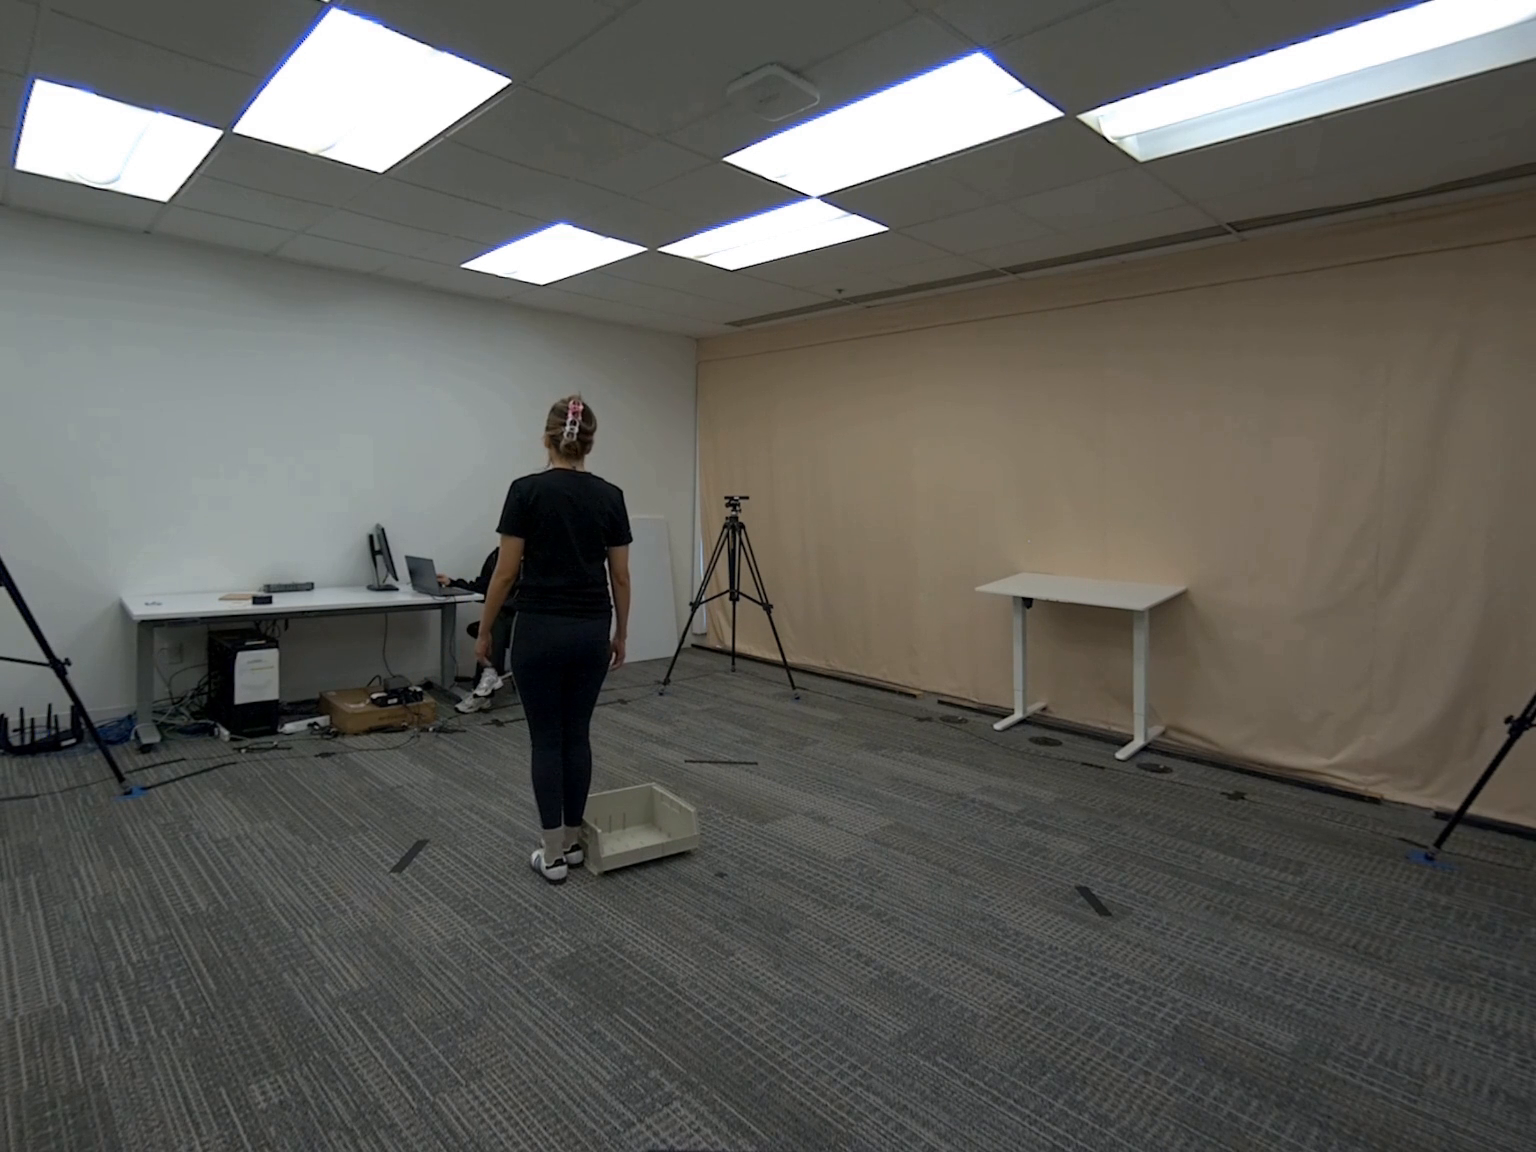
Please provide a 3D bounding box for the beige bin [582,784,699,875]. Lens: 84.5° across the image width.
[{"bbox_3d":[-0.549,0.989,3.297,0.413,0.188,0.386,-3,6,-35],"label":"beige bin"}]
